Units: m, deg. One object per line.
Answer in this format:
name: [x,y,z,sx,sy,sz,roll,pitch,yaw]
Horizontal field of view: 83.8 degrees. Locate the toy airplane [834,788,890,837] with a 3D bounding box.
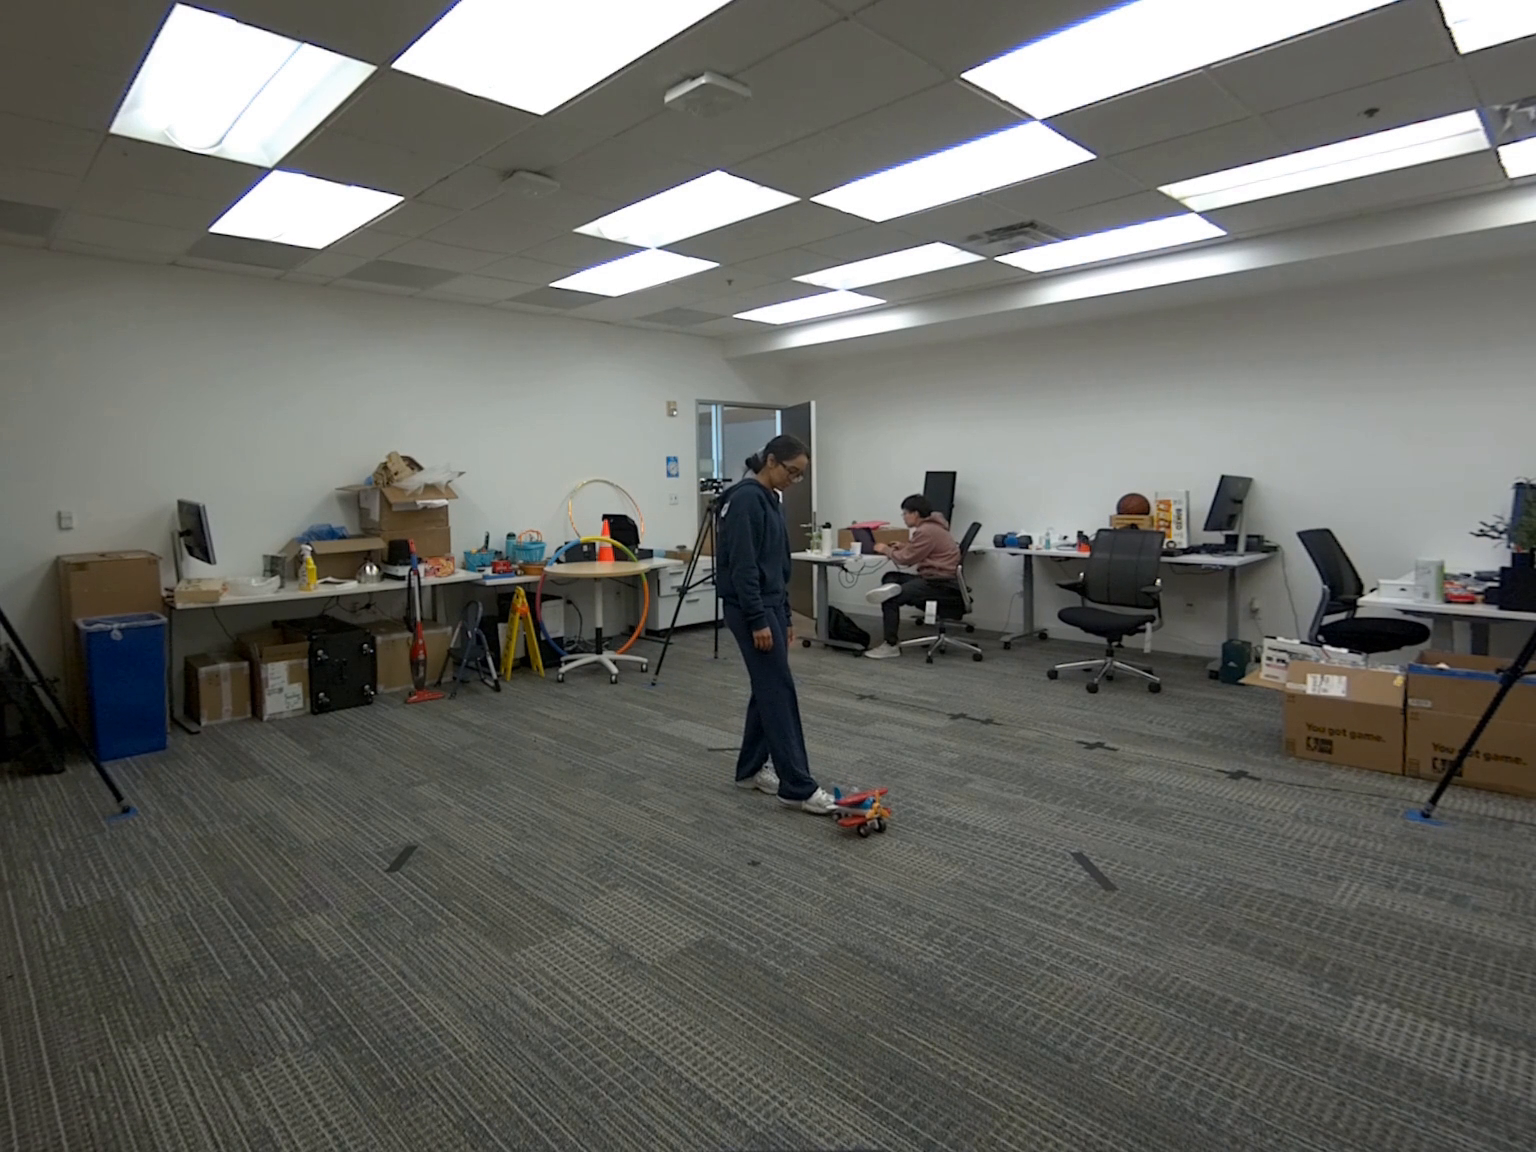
toy airplane: [0.338,0.929,3.398,0.266,0.156,0.246,3,7,26]
